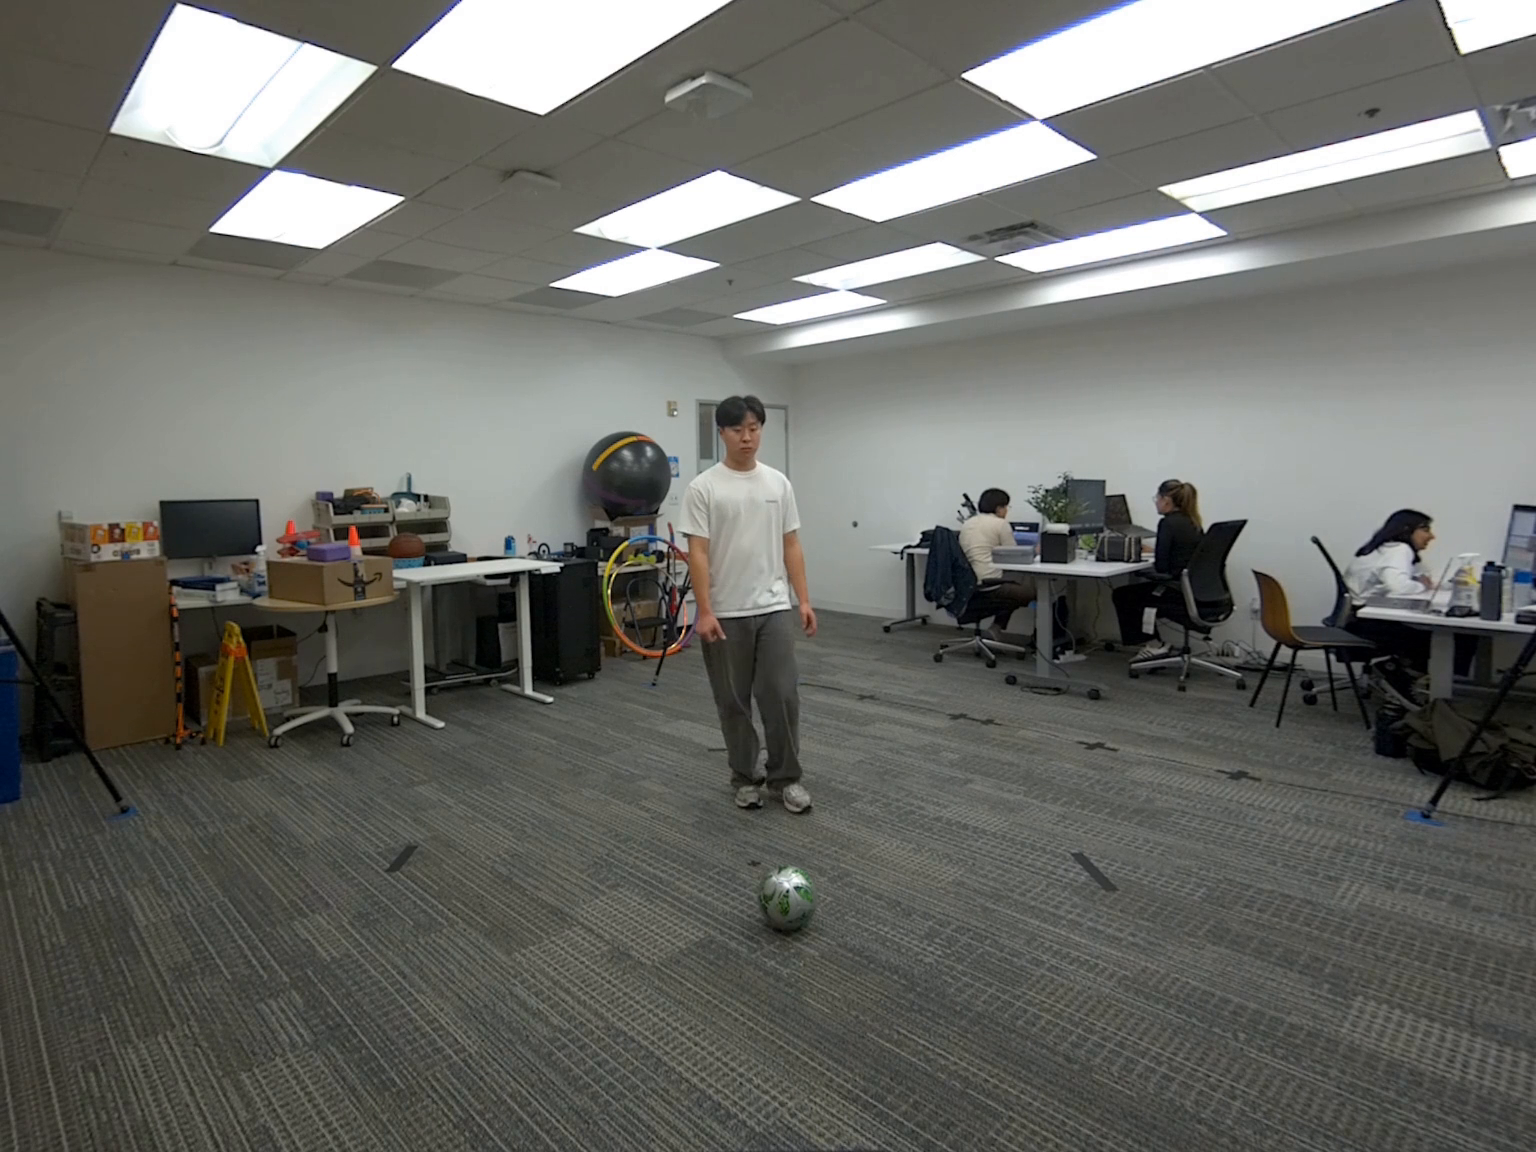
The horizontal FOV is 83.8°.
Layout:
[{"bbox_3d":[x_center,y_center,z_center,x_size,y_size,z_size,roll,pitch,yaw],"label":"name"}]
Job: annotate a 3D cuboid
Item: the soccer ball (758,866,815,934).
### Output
[{"bbox_3d":[0.061,1.005,2.669,0.187,0.187,0.188,-1,5,-2],"label":"soccer ball"}]
